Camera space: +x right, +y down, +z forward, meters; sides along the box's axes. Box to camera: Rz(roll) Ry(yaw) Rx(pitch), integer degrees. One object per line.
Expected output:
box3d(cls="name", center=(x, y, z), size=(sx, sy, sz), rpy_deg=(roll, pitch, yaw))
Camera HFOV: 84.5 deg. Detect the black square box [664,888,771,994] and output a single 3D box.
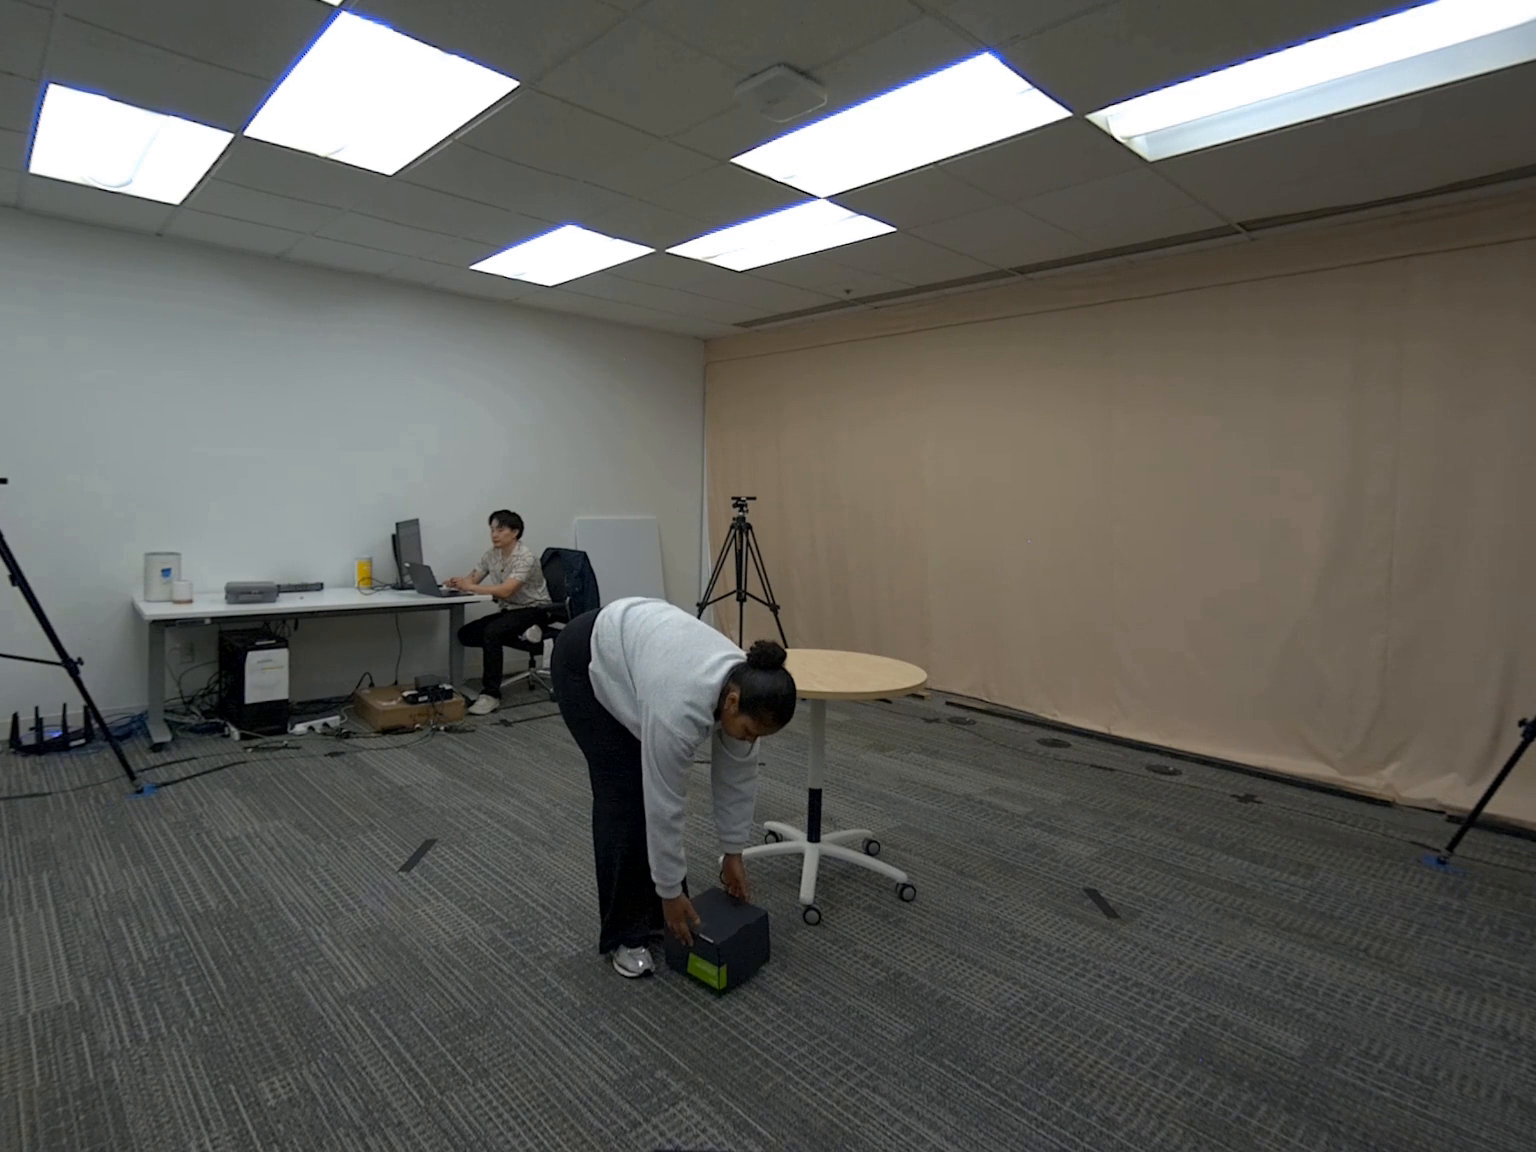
box3d(cls="black square box", center=(-0.156, 1.047, 2.458), size=(0.234, 0.155, 0.213), rpy_deg=(6, 11, 42))
